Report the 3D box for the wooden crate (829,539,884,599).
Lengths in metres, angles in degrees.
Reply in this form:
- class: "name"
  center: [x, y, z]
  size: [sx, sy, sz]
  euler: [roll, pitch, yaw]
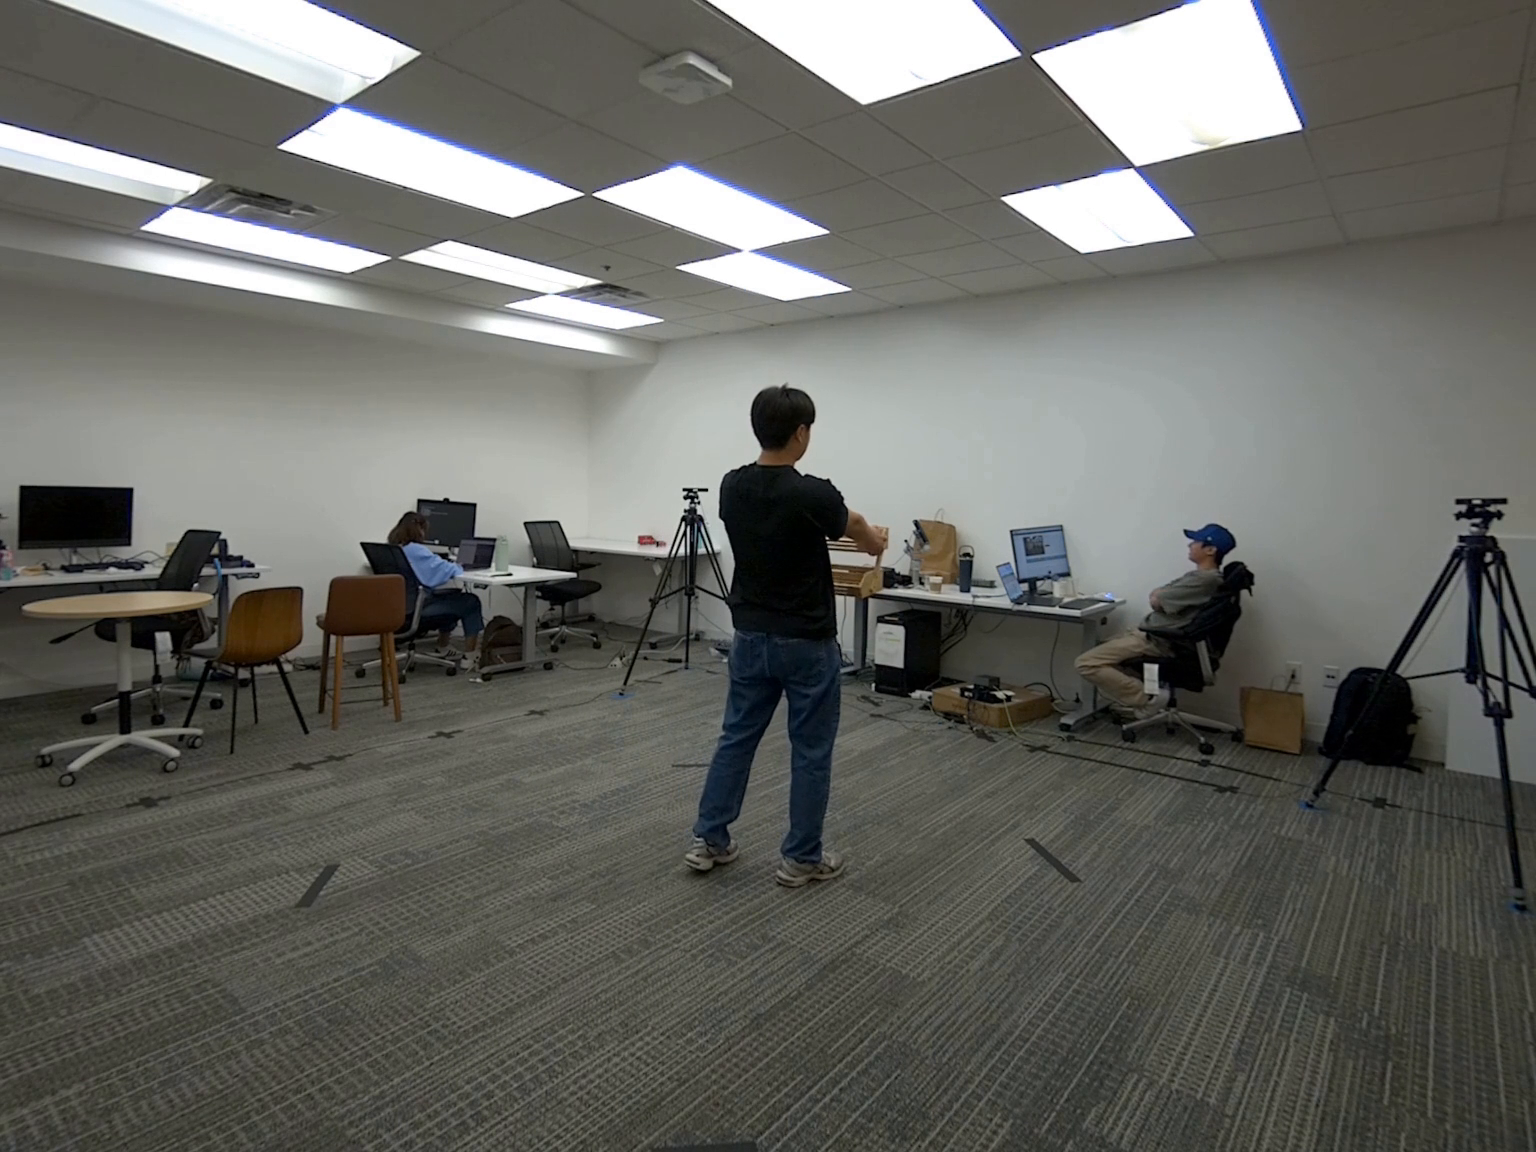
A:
- class: "wooden crate"
  center: [0.294, -0.075, 3.520]
  size: [0.334, 0.271, 0.295]
  euler: [5, 9, 29]
